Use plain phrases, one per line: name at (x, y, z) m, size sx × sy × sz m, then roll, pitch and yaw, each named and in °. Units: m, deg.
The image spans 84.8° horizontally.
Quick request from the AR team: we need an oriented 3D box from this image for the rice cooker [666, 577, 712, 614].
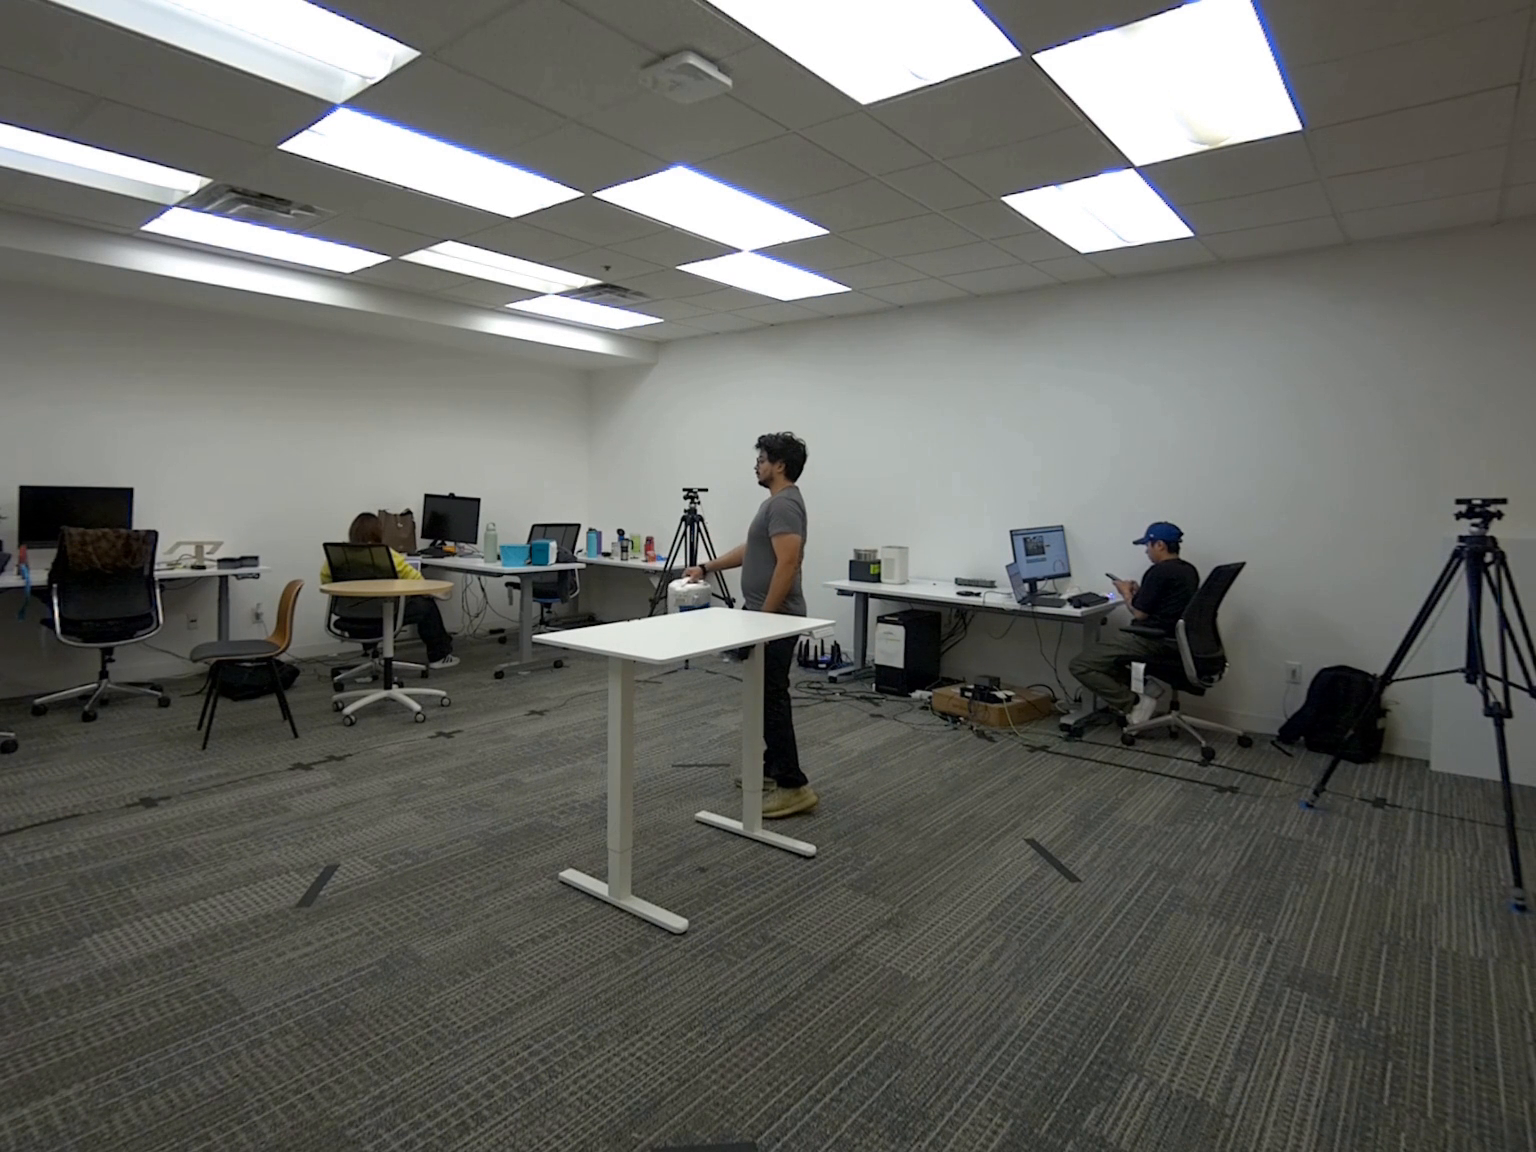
rice cooker at (-0.392, 0.112, 4.114) m, size 0.223 × 0.231 × 0.217 m, roll 5°, pitch 8°, yaw 22°
